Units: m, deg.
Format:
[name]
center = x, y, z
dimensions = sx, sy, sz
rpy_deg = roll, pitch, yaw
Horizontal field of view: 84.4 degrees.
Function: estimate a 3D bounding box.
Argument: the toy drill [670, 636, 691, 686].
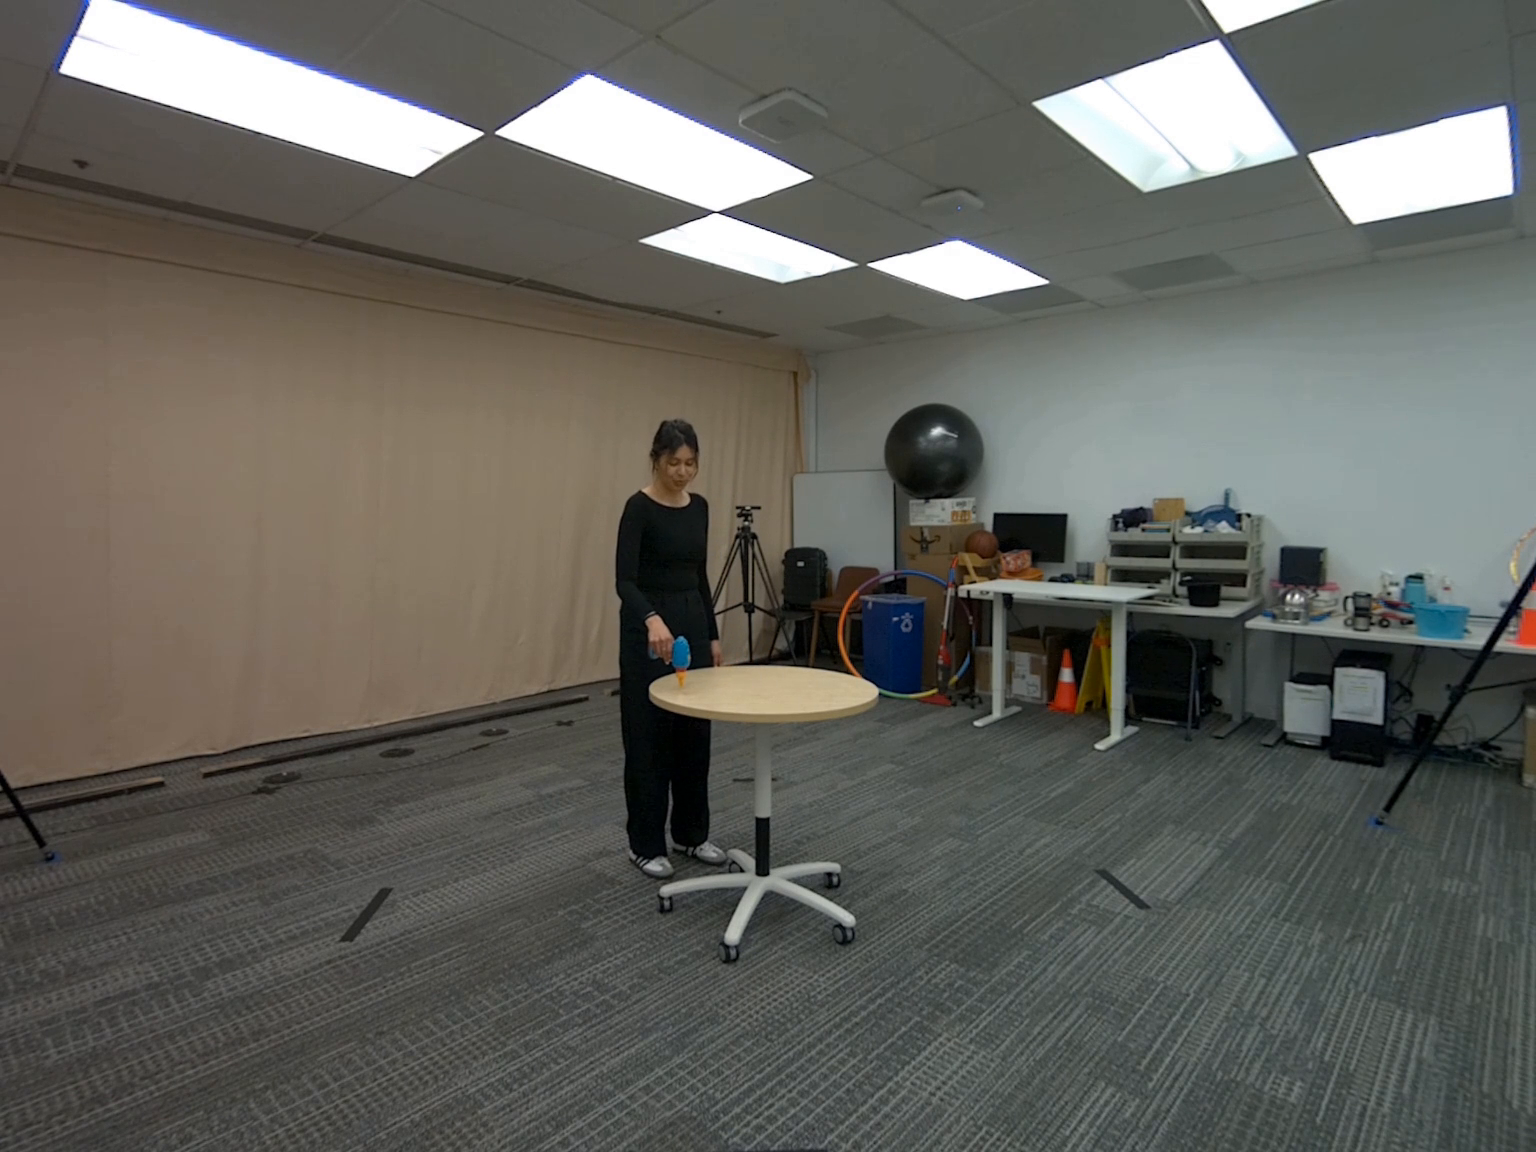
[toy drill]
center = -0.317, 0.277, 2.787
dimensions = 0.150, 0.169, 0.059
rpy_deg = 4, 5, 29
